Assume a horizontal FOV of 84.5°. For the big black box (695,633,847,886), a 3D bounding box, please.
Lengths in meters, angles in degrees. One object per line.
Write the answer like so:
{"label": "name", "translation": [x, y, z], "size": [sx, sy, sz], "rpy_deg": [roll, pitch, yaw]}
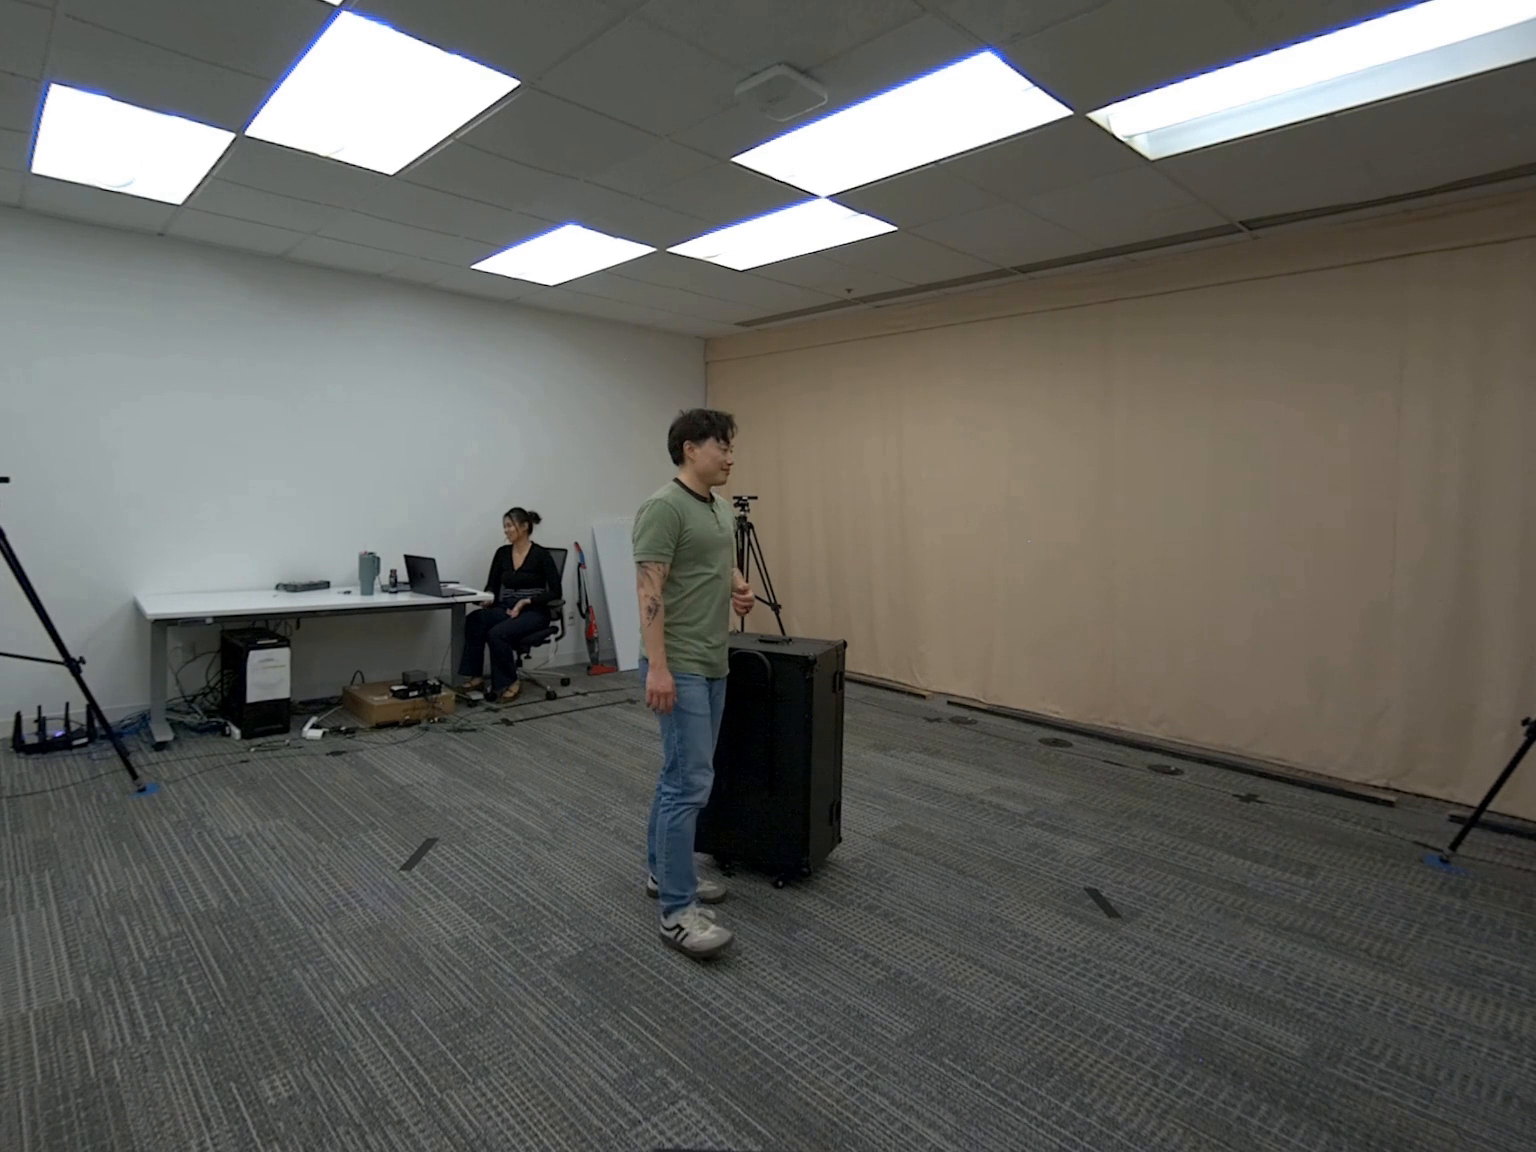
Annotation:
{"label": "big black box", "translation": [-0.001, 0.672, 3.168], "size": [0.531, 0.859, 0.390], "rpy_deg": [3, 4, 25]}
